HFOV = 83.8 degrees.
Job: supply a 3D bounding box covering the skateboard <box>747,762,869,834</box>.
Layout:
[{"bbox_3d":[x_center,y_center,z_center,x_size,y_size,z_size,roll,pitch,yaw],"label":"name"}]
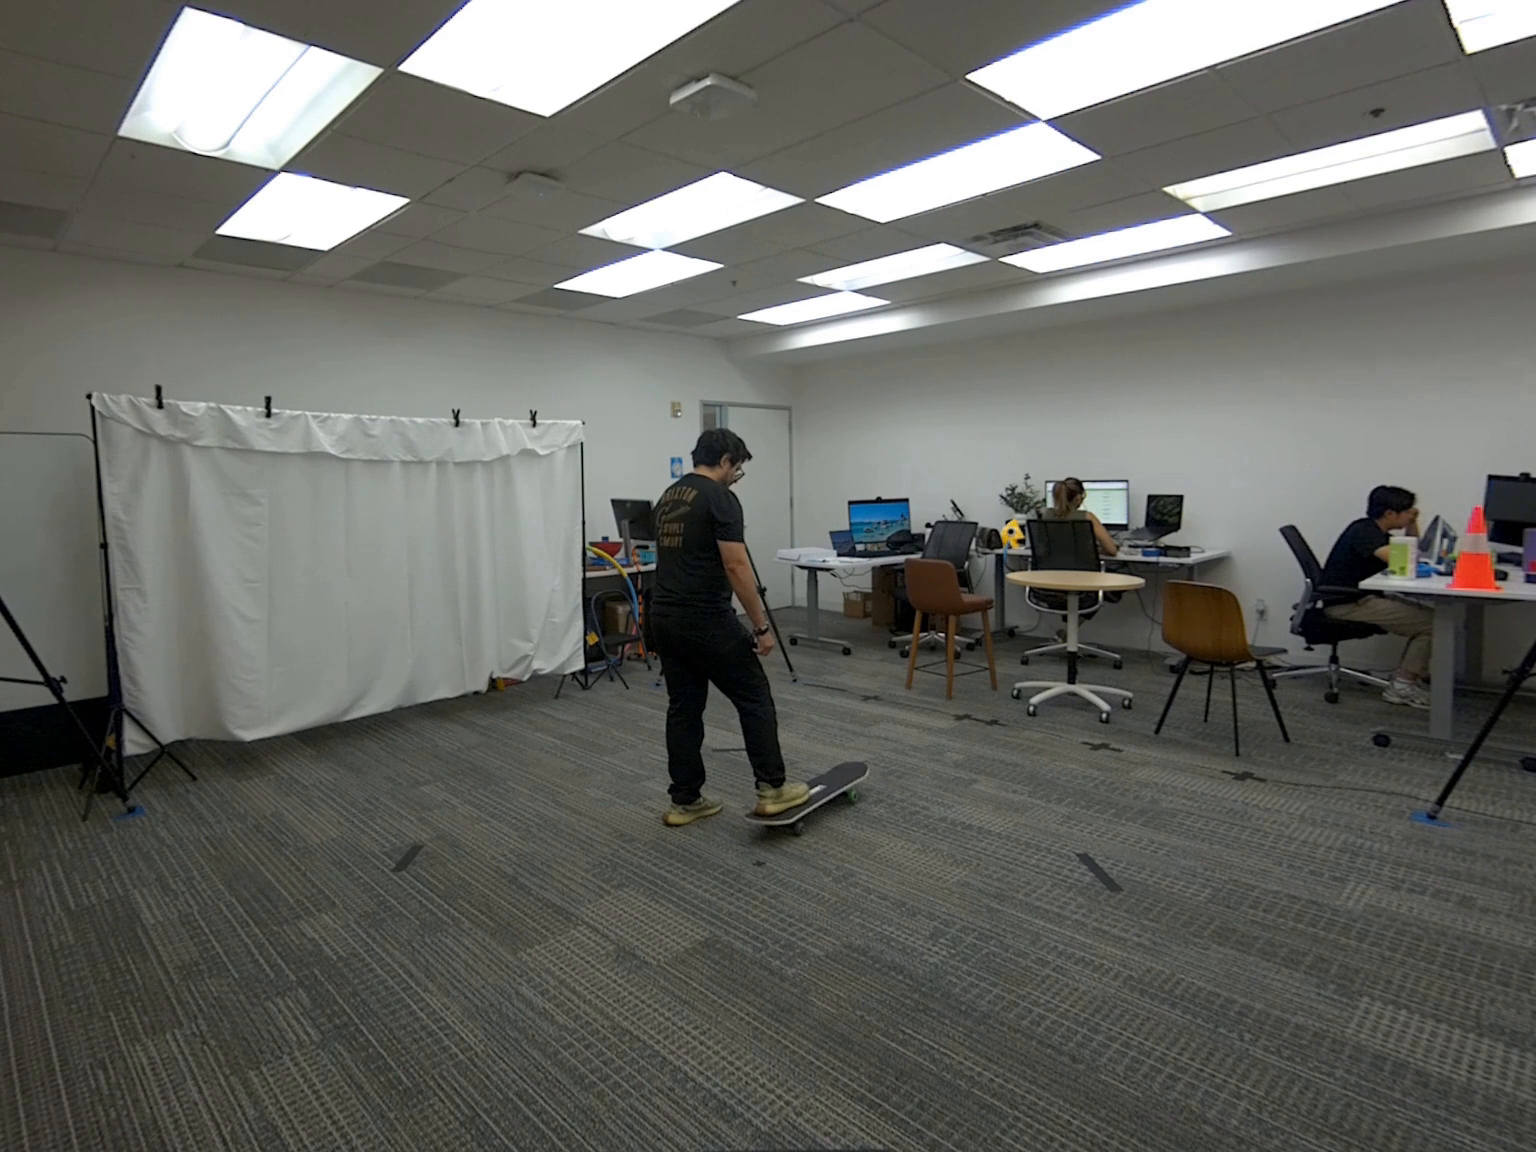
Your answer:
[{"bbox_3d":[0.179,0.935,3.558,0.199,0.110,0.767,-2,6,37],"label":"skateboard"}]
